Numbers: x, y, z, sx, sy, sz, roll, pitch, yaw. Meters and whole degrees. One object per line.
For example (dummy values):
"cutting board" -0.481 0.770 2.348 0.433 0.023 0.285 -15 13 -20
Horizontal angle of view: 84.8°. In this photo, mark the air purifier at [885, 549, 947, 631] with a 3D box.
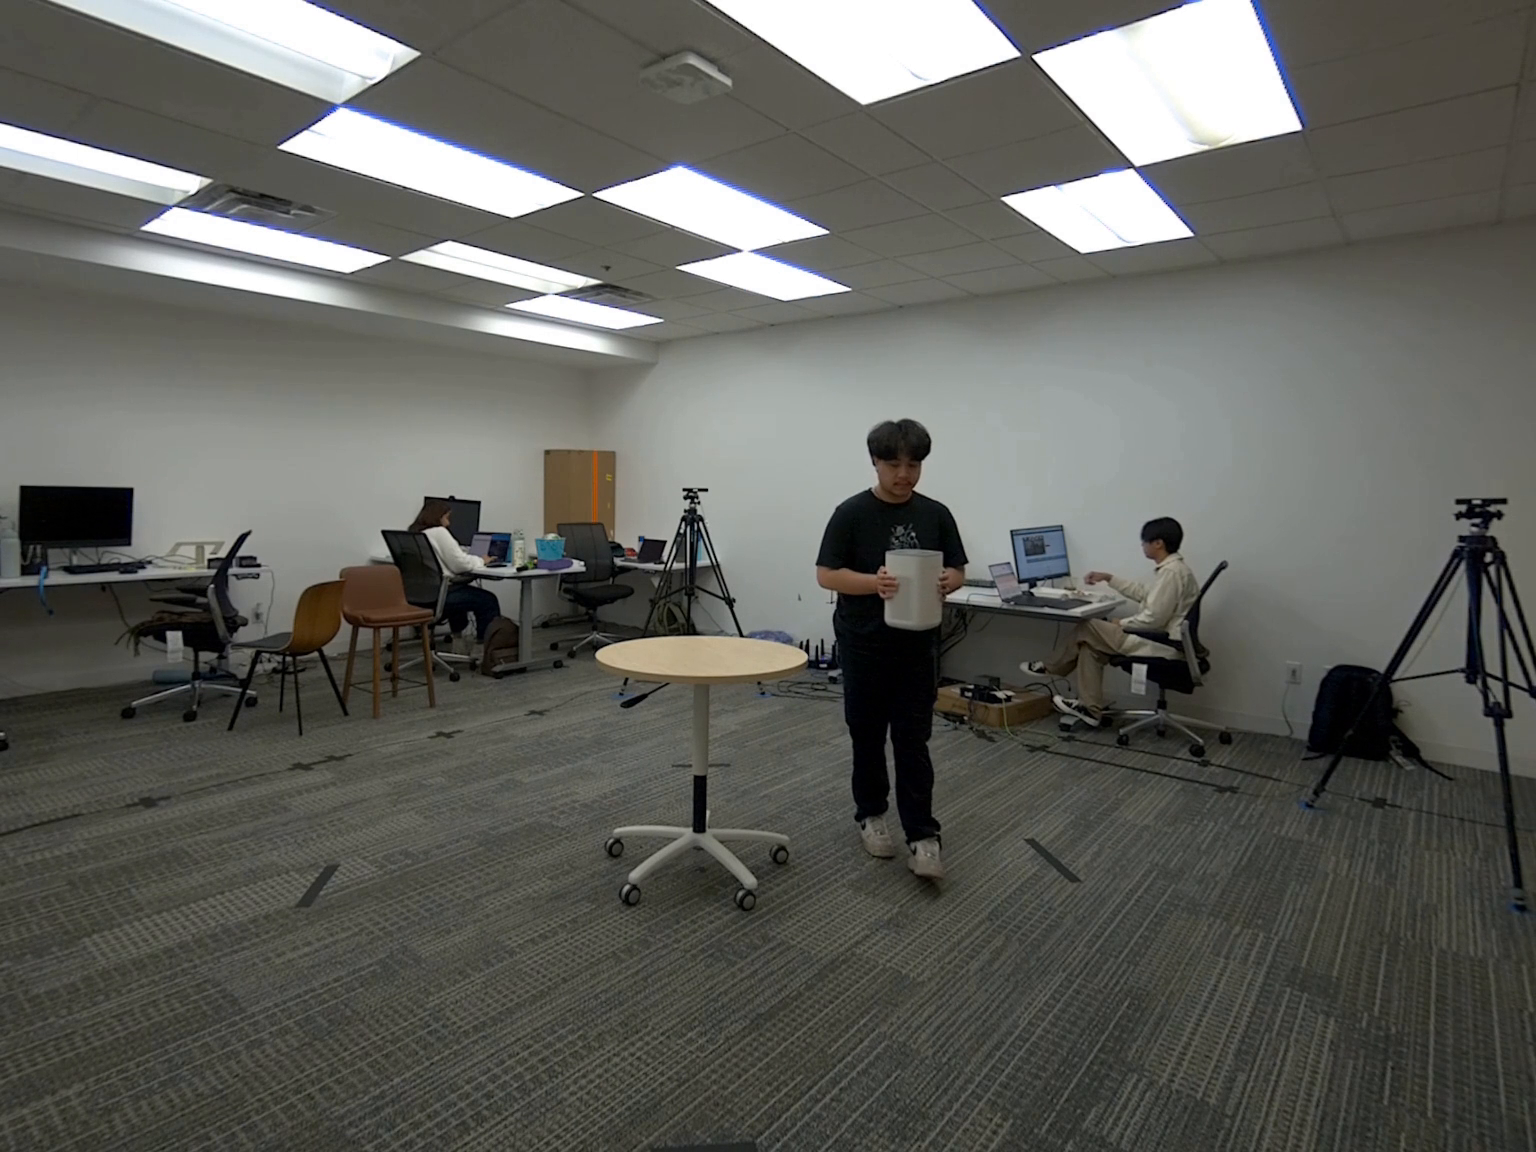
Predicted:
"air purifier" 0.515 0.041 2.996 0.177 0.264 0.166 3 7 39
